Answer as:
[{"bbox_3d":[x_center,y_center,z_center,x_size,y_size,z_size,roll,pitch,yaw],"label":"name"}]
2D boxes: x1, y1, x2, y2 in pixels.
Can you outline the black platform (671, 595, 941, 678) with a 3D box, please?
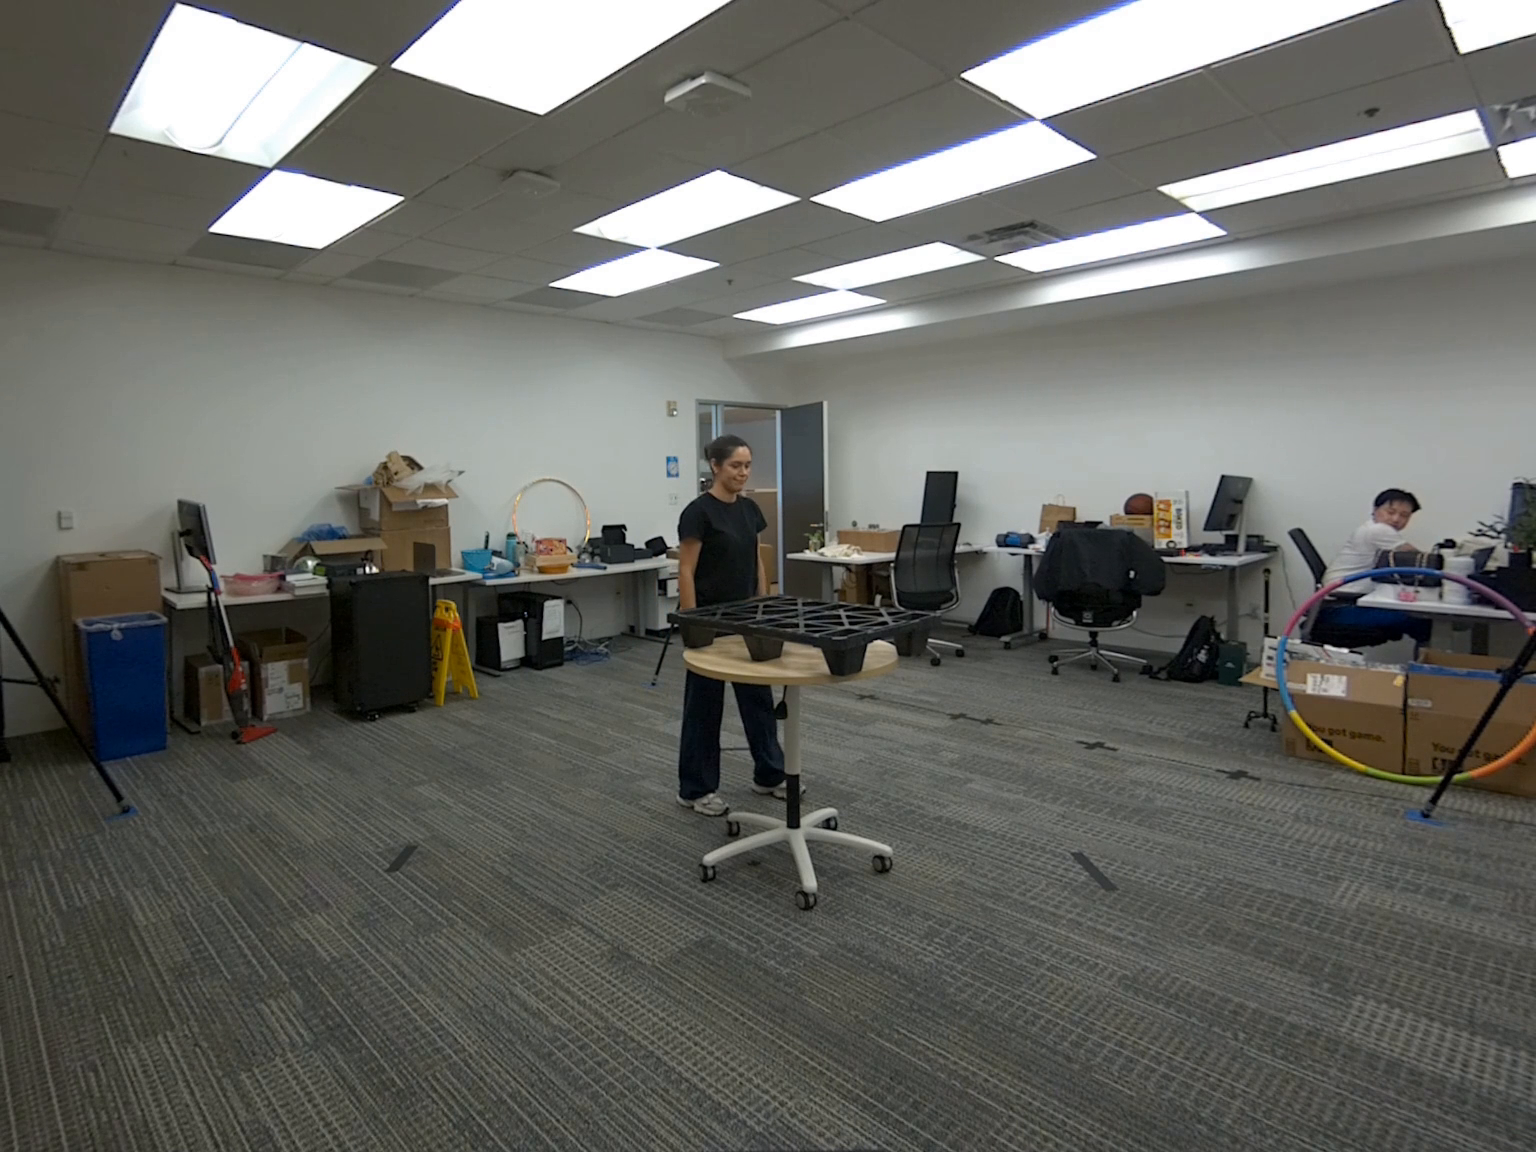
[{"bbox_3d":[0.118,0.198,3.074,0.830,0.142,0.589,5,9,44],"label":"black platform"}]
